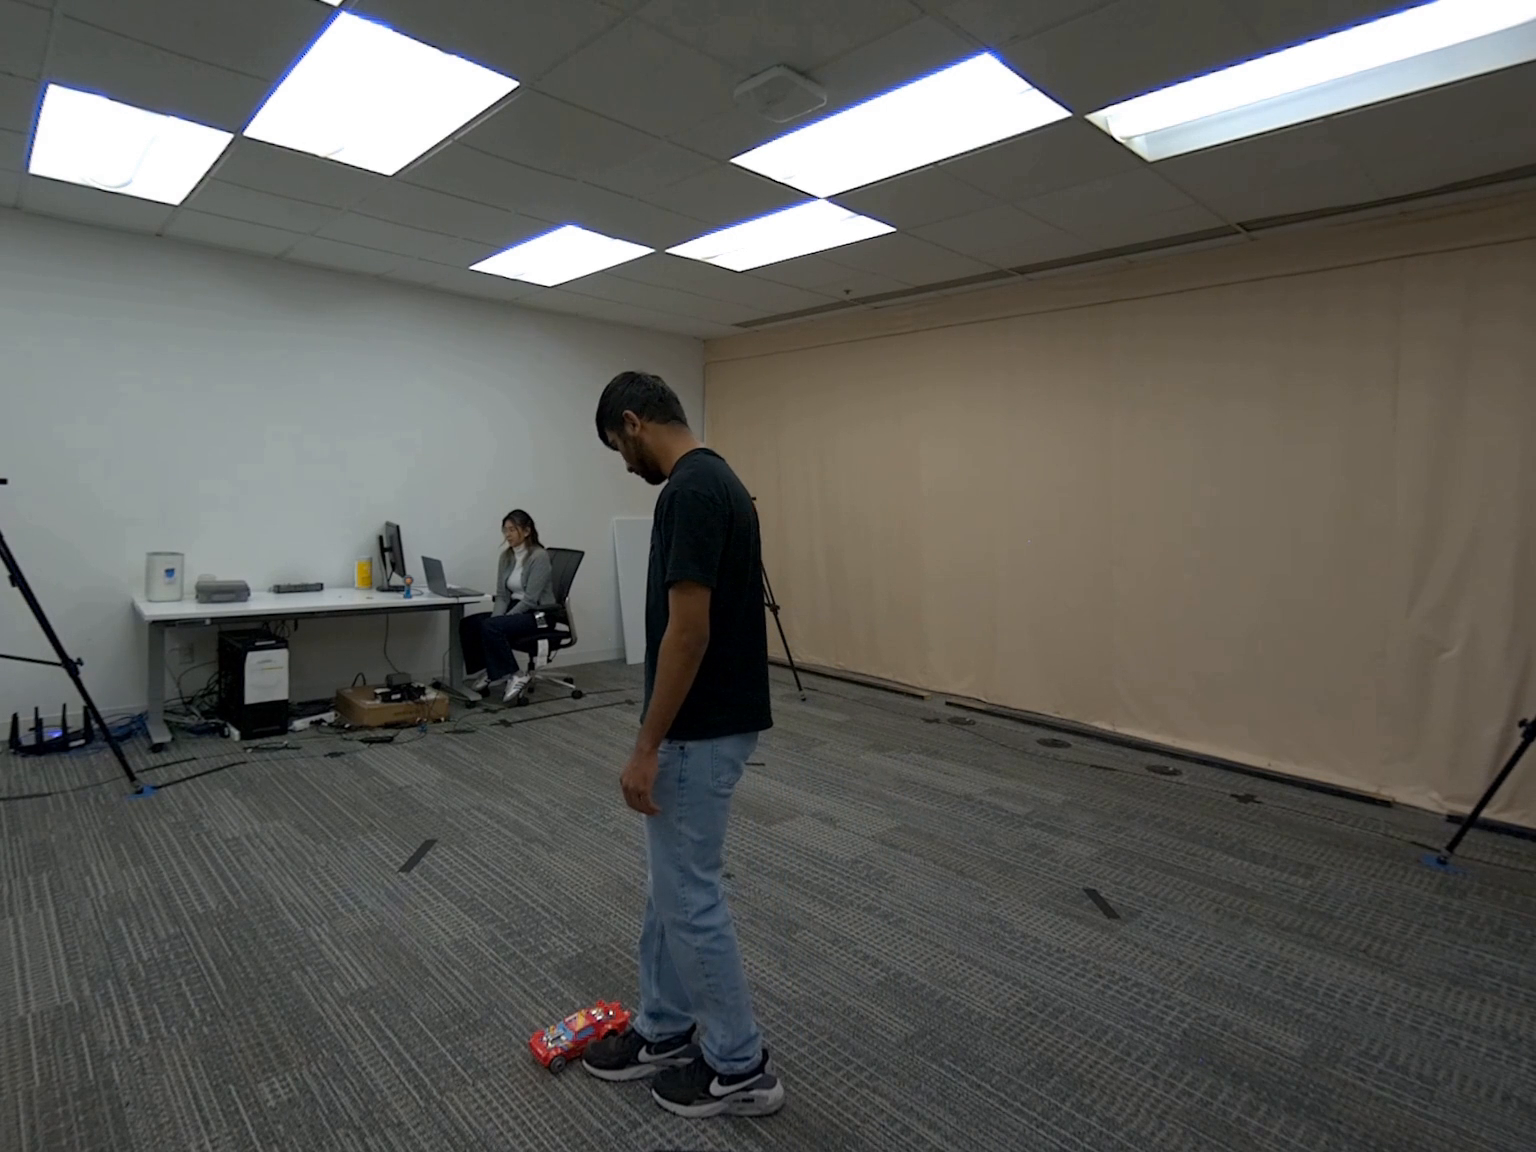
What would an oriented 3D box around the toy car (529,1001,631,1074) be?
[{"bbox_3d":[-0.479,1.164,2.117,0.250,0.082,0.133,-17,15,-37],"label":"toy car"}]
